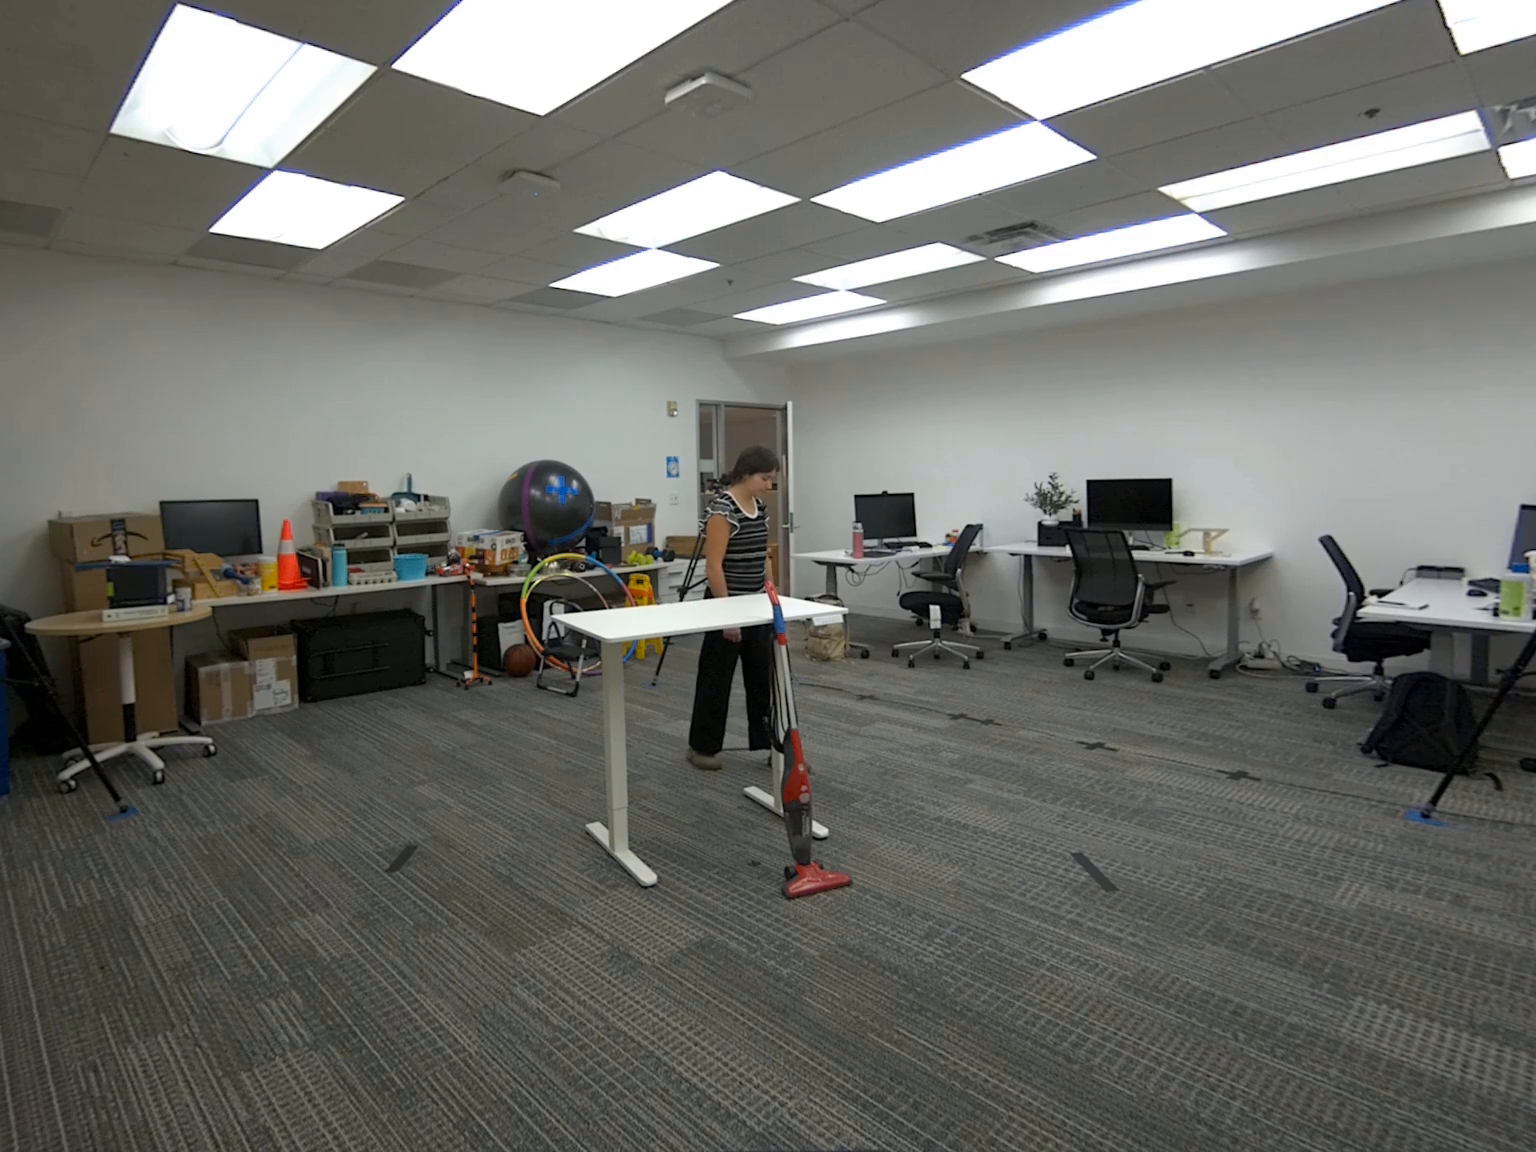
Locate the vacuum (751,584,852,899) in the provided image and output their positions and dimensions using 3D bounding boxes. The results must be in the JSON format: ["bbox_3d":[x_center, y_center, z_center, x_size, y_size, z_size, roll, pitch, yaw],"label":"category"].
[{"bbox_3d":[0.088,0.560,3.048,0.247,1.063,0.145,-2,-13,-25],"label":"vacuum"}]
